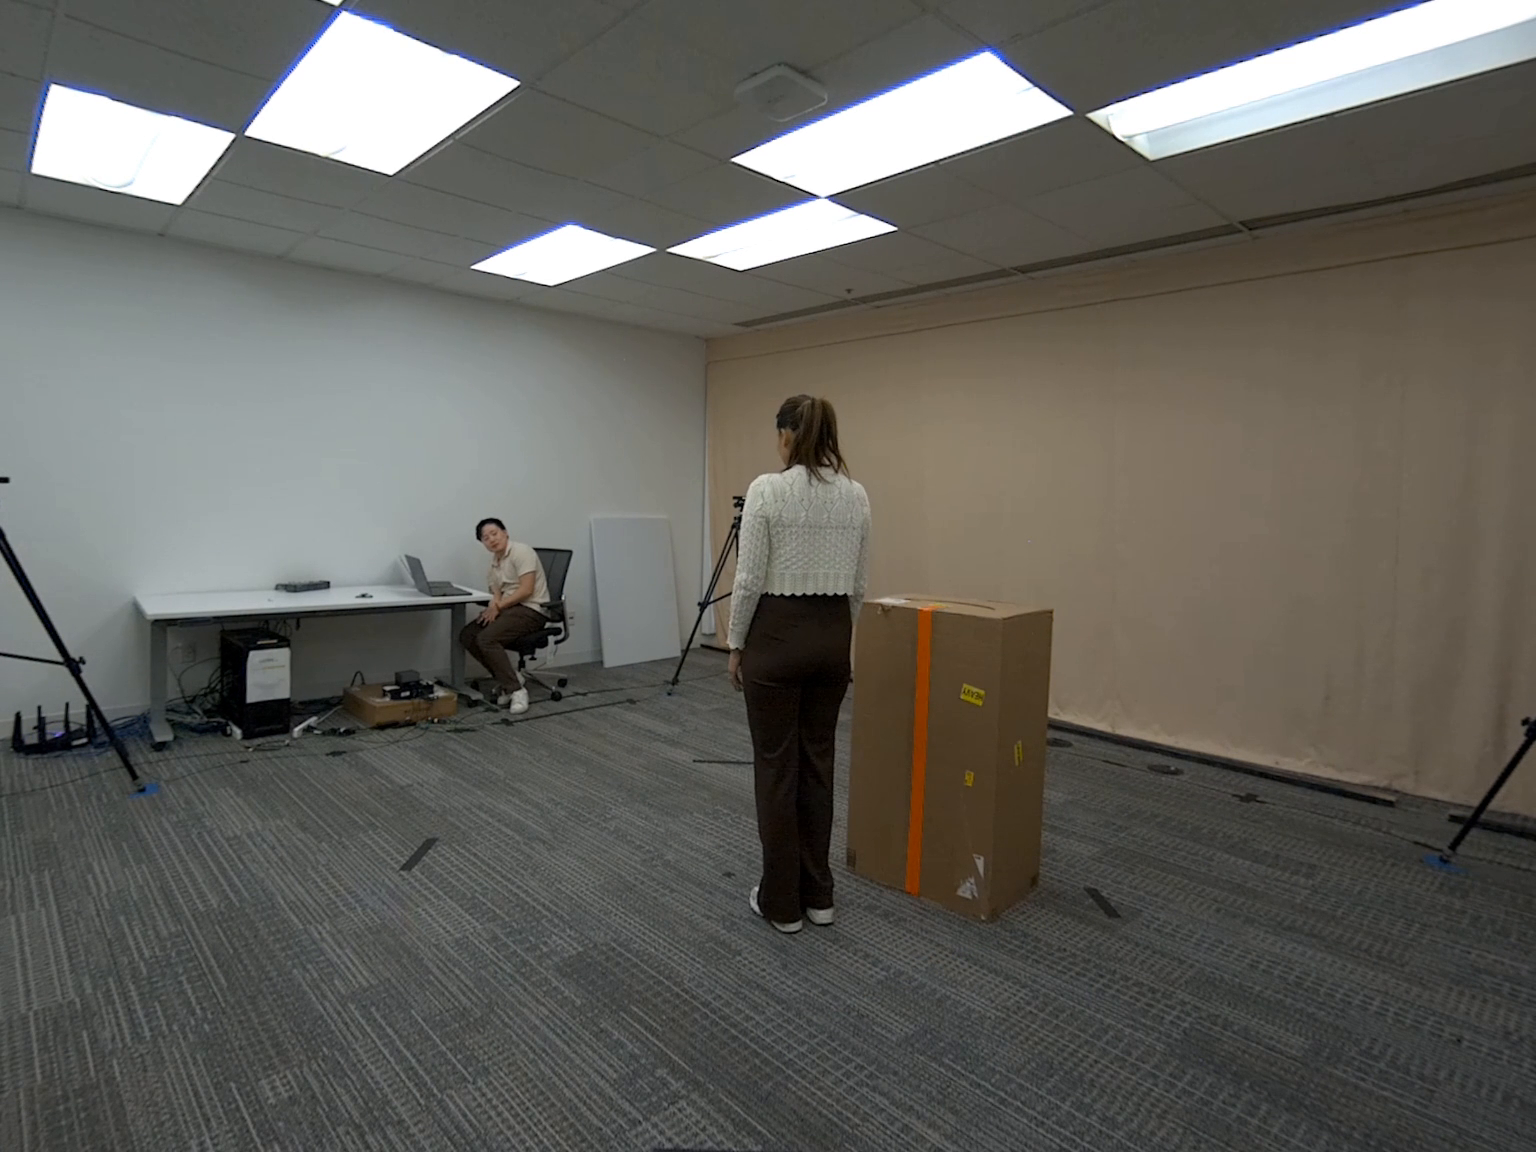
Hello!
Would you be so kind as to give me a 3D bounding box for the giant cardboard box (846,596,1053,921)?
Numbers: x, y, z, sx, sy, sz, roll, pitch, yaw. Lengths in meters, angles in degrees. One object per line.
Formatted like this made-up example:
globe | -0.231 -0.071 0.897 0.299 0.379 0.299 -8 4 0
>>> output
giant cardboard box | 0.654 0.612 3.106 0.592 1.023 0.416 5 4 41
